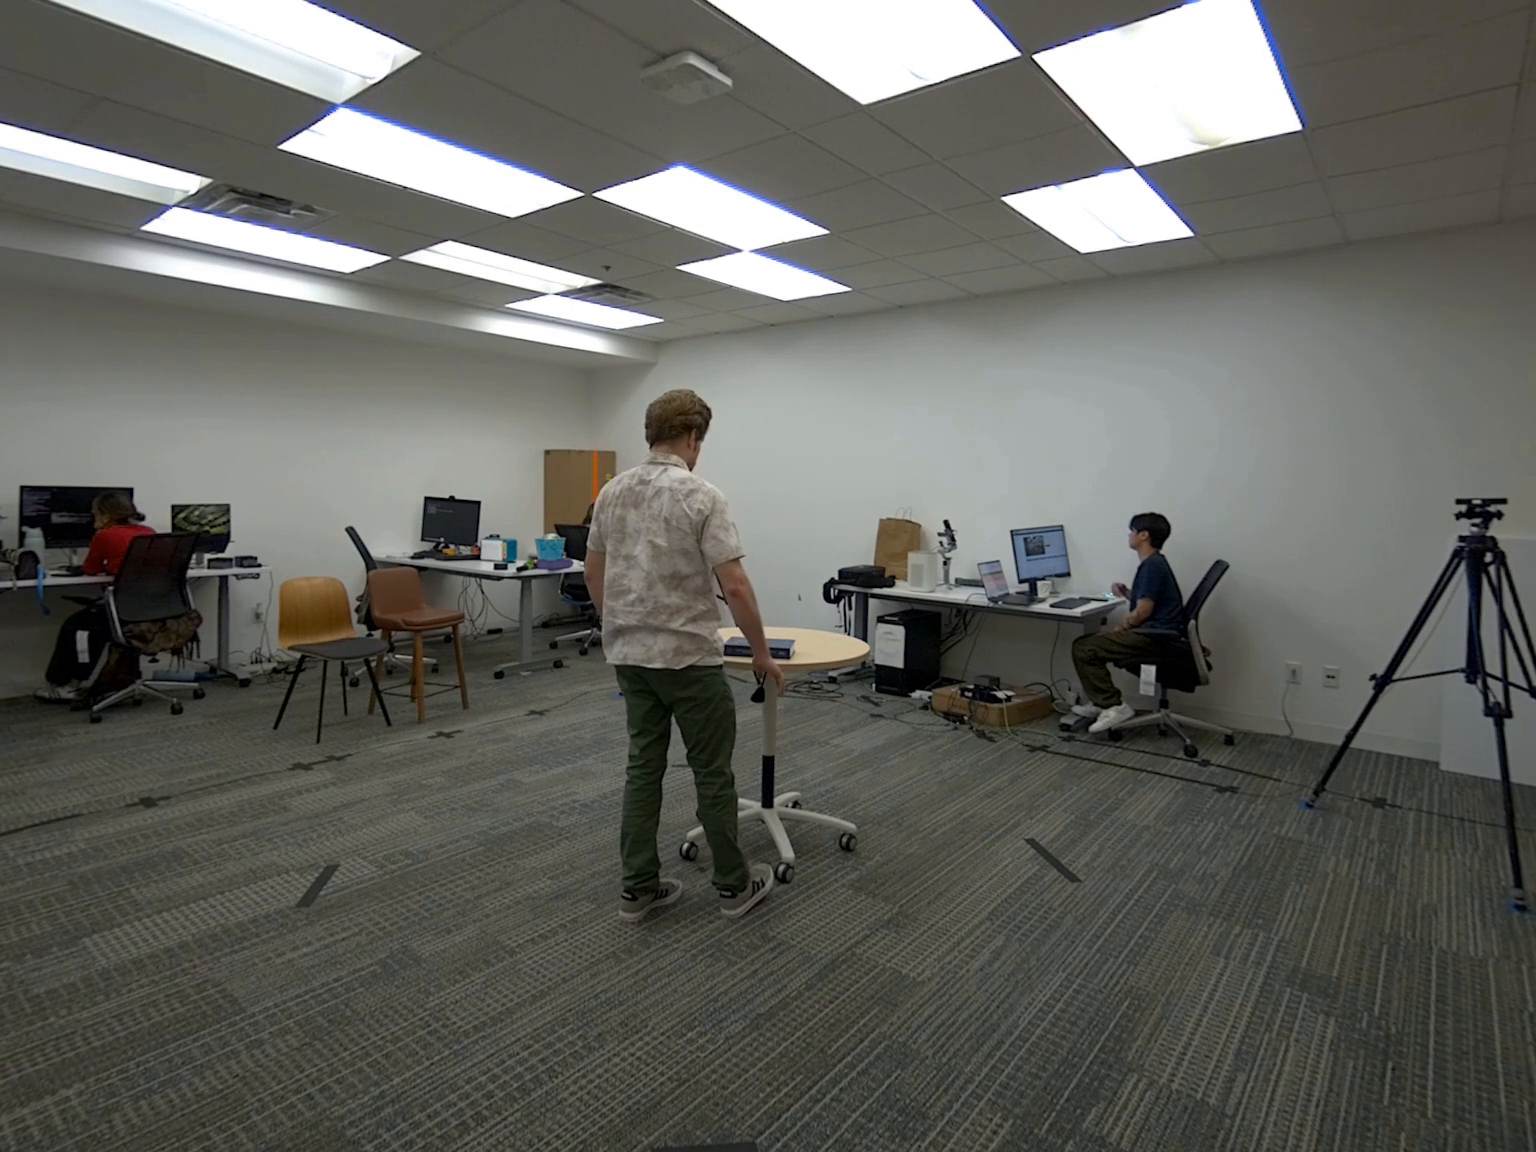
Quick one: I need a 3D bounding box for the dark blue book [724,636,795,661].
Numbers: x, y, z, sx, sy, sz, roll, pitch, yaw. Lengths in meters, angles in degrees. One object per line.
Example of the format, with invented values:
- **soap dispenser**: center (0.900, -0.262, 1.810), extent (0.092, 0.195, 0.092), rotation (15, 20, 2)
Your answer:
- **dark blue book**: center (-0.033, 0.263, 3.124), extent (0.248, 0.045, 0.162), rotation (2, 6, 11)
